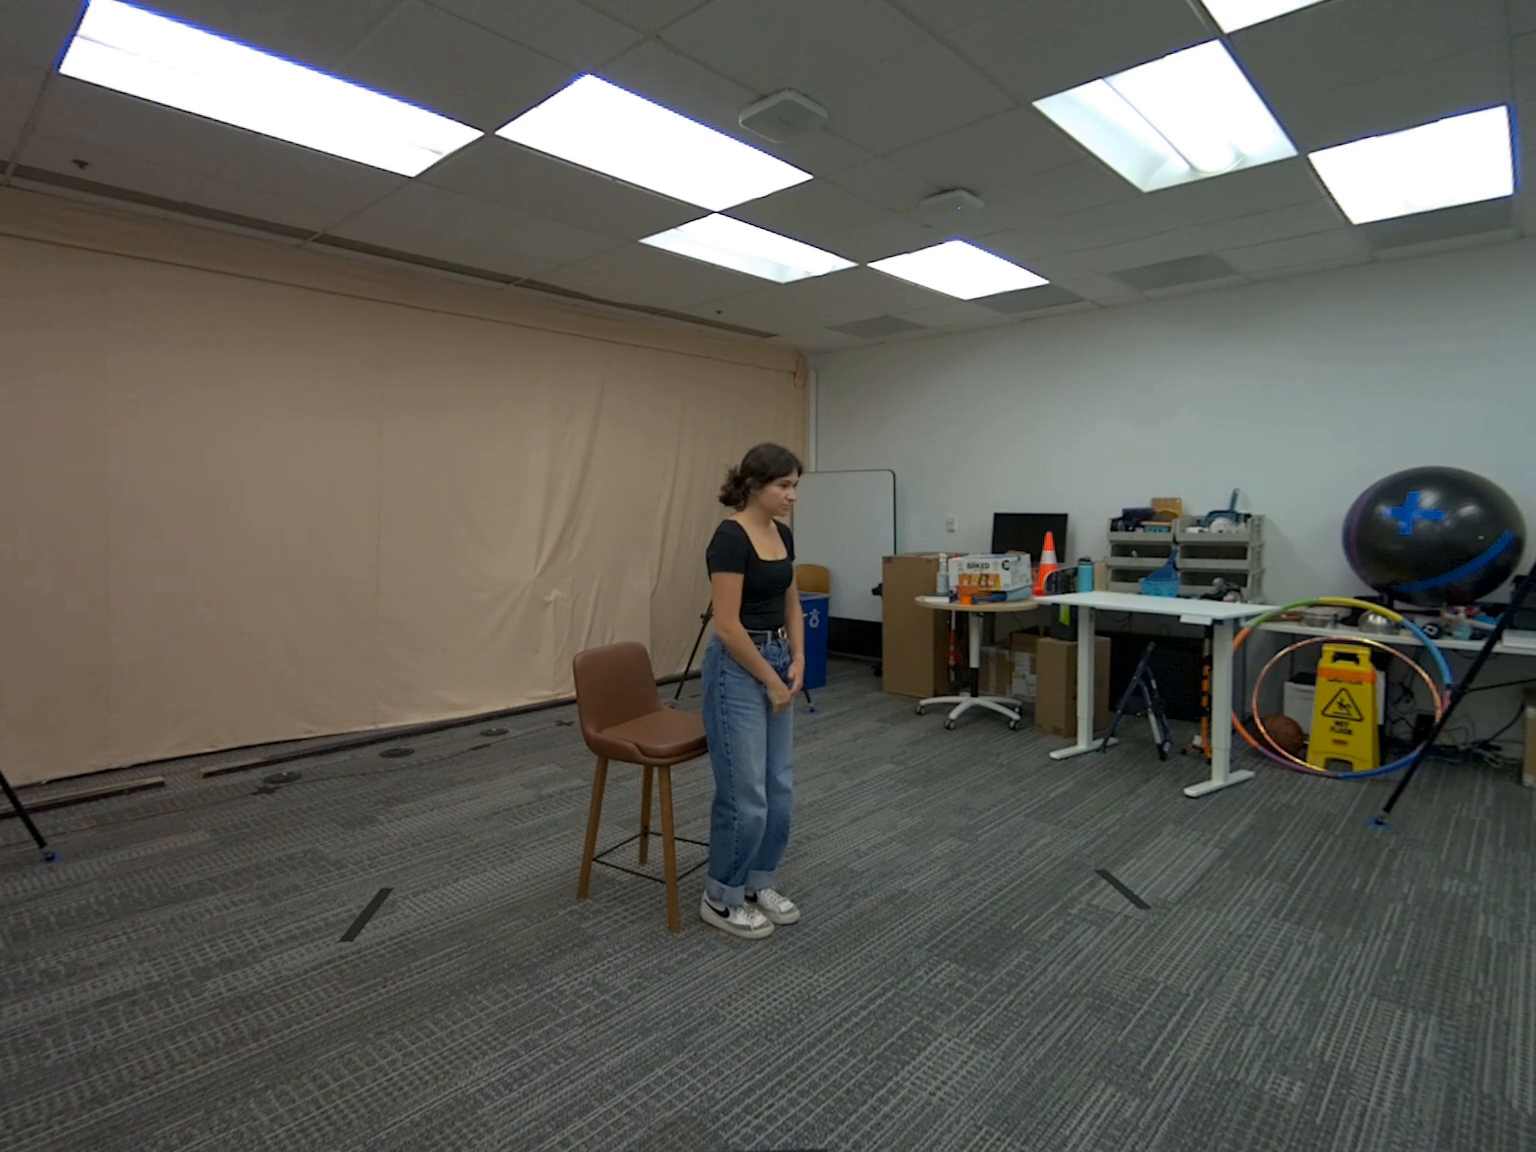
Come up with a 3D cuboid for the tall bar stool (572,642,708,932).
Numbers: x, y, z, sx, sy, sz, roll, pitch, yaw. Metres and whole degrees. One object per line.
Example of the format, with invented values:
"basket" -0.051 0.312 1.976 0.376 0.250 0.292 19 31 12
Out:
"tall bar stool" -0.401 0.710 3.024 0.481 0.888 0.444 -1 2 32
